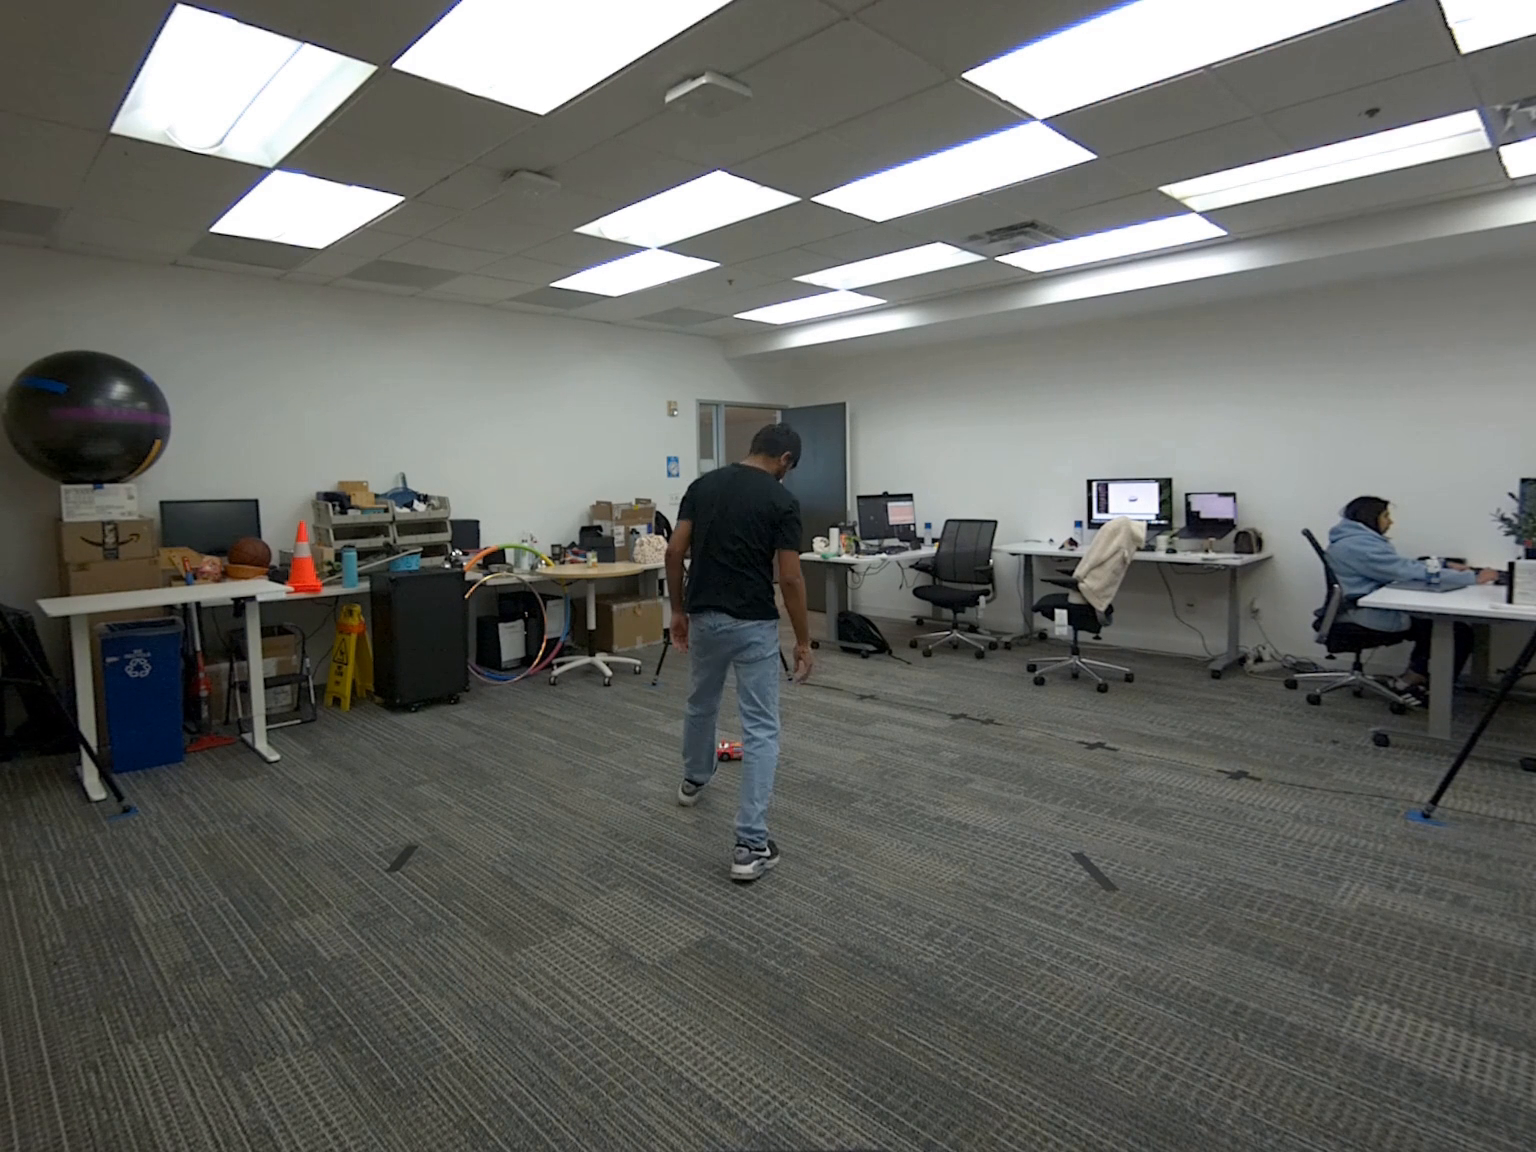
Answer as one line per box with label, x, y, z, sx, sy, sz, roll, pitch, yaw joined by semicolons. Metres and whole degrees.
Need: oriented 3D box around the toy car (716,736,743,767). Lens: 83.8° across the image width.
toy car;-0.154;0.884;4.294;0.255;0.083;0.131;9;6;0
